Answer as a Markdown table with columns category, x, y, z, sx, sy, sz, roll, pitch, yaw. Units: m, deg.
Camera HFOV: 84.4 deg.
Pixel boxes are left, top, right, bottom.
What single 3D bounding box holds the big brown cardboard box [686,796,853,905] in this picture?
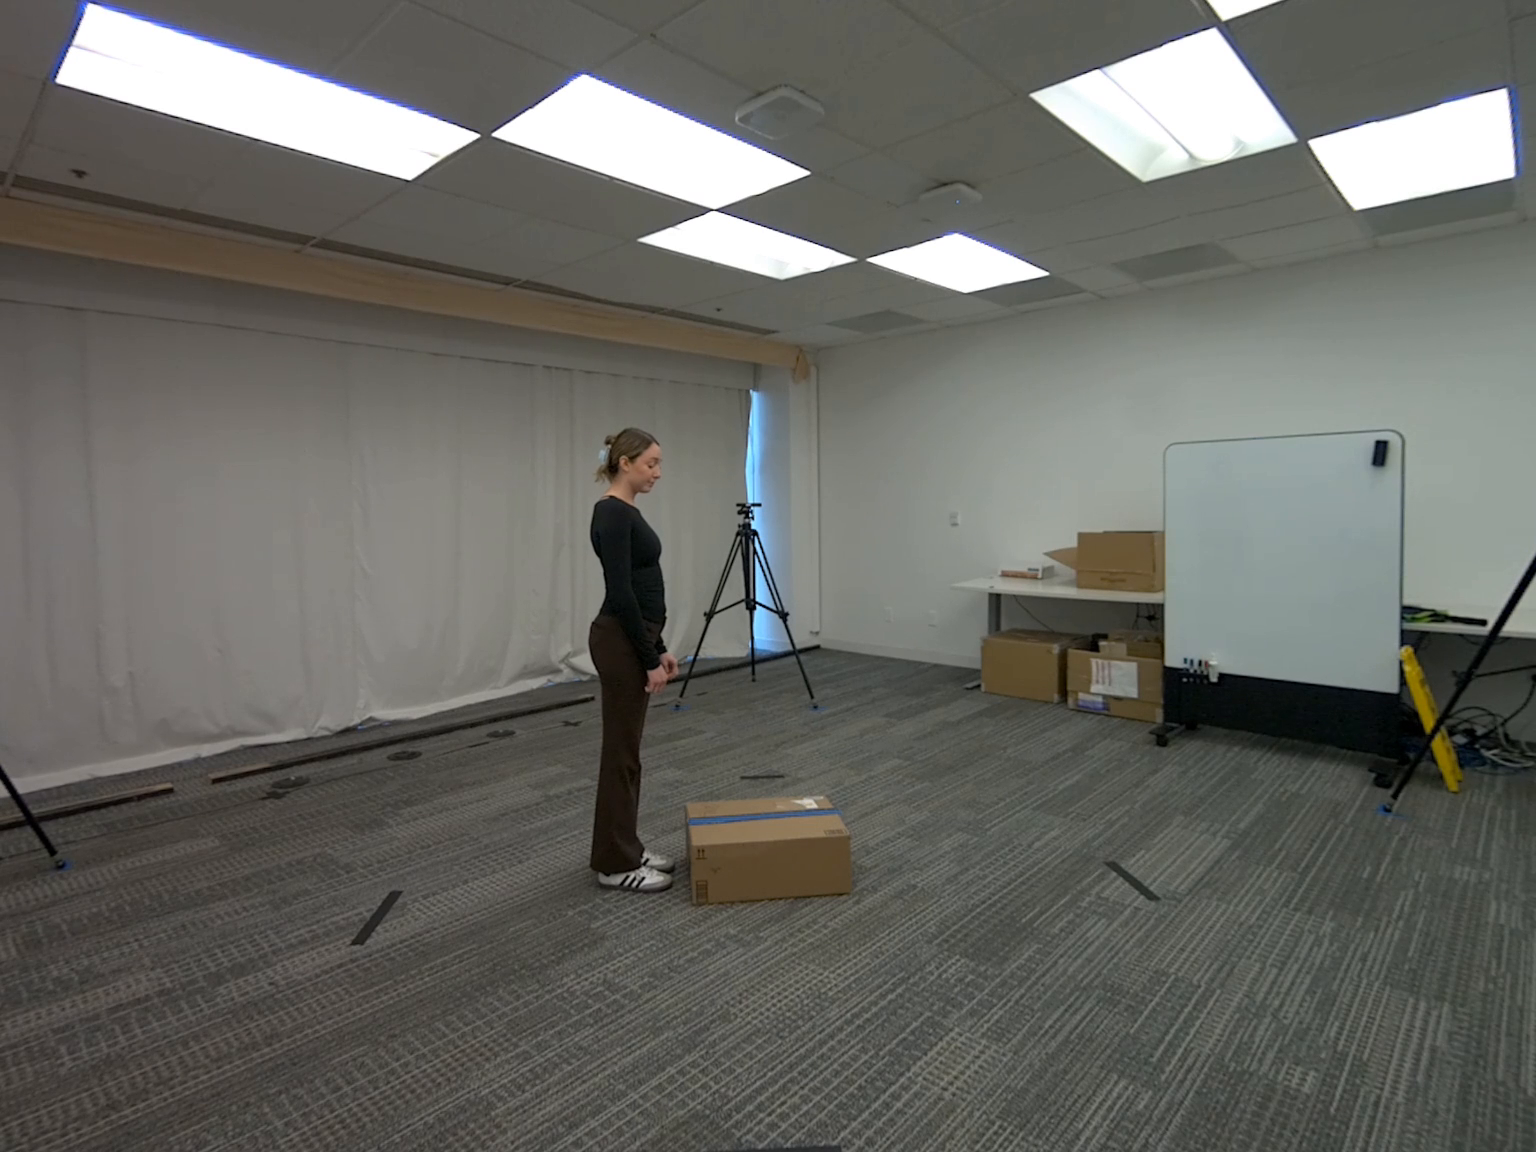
| category | x | y | z | sx | sy | sz | roll | pitch | yaw |
| --- | --- | --- | --- | --- | --- | --- | --- | --- | --- |
| big brown cardboard box | -0.008 | 1.008 | 3.147 | 0.585 | 0.232 | 0.422 | -3 | 5 | -7 |
